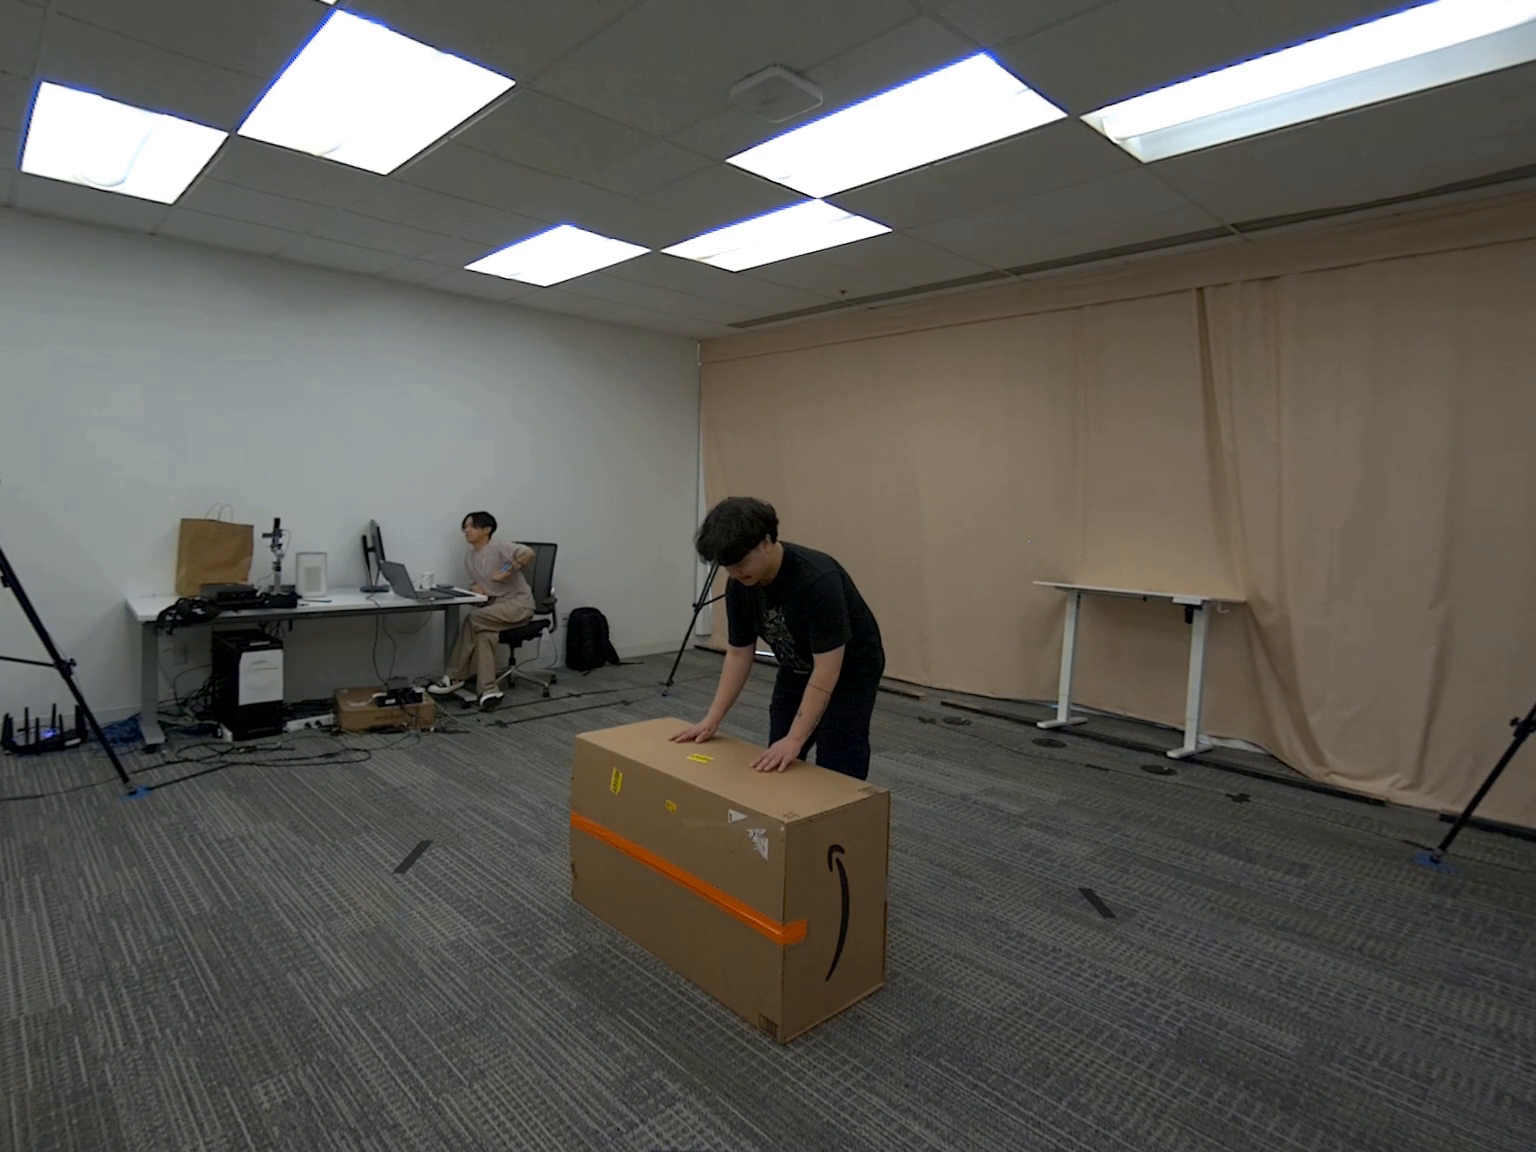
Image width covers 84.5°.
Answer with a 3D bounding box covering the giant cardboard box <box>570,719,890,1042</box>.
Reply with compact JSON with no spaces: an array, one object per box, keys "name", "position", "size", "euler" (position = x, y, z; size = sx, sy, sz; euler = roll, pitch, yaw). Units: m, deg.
[{"name":"giant cardboard box","position":[-0.174,0.866,2.640],"size":[0.437,0.582,1.053],"euler":[-3,6,-43]}]
